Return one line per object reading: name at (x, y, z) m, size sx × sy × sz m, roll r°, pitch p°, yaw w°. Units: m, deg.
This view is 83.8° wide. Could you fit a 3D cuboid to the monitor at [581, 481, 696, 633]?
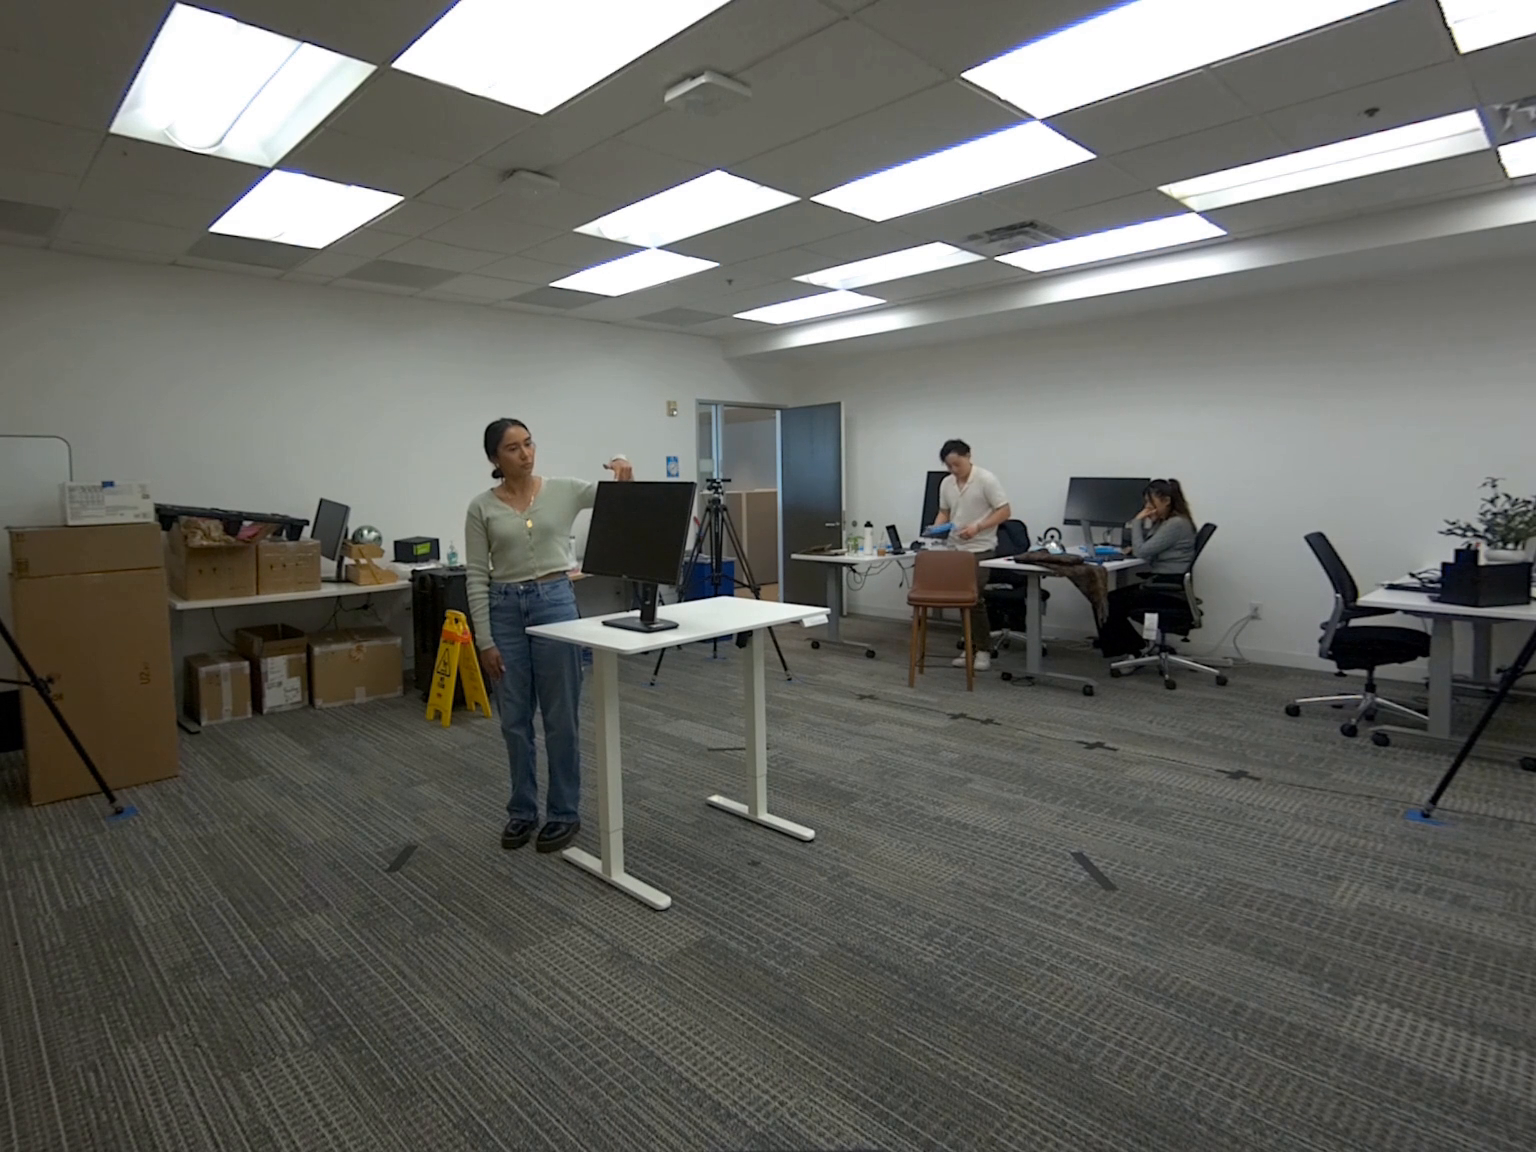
monitor at (-0.445, -0.072, 3.031) m, size 0.556 × 0.521 × 0.182 m, roll 4°, pitch 4°, yaw 42°
